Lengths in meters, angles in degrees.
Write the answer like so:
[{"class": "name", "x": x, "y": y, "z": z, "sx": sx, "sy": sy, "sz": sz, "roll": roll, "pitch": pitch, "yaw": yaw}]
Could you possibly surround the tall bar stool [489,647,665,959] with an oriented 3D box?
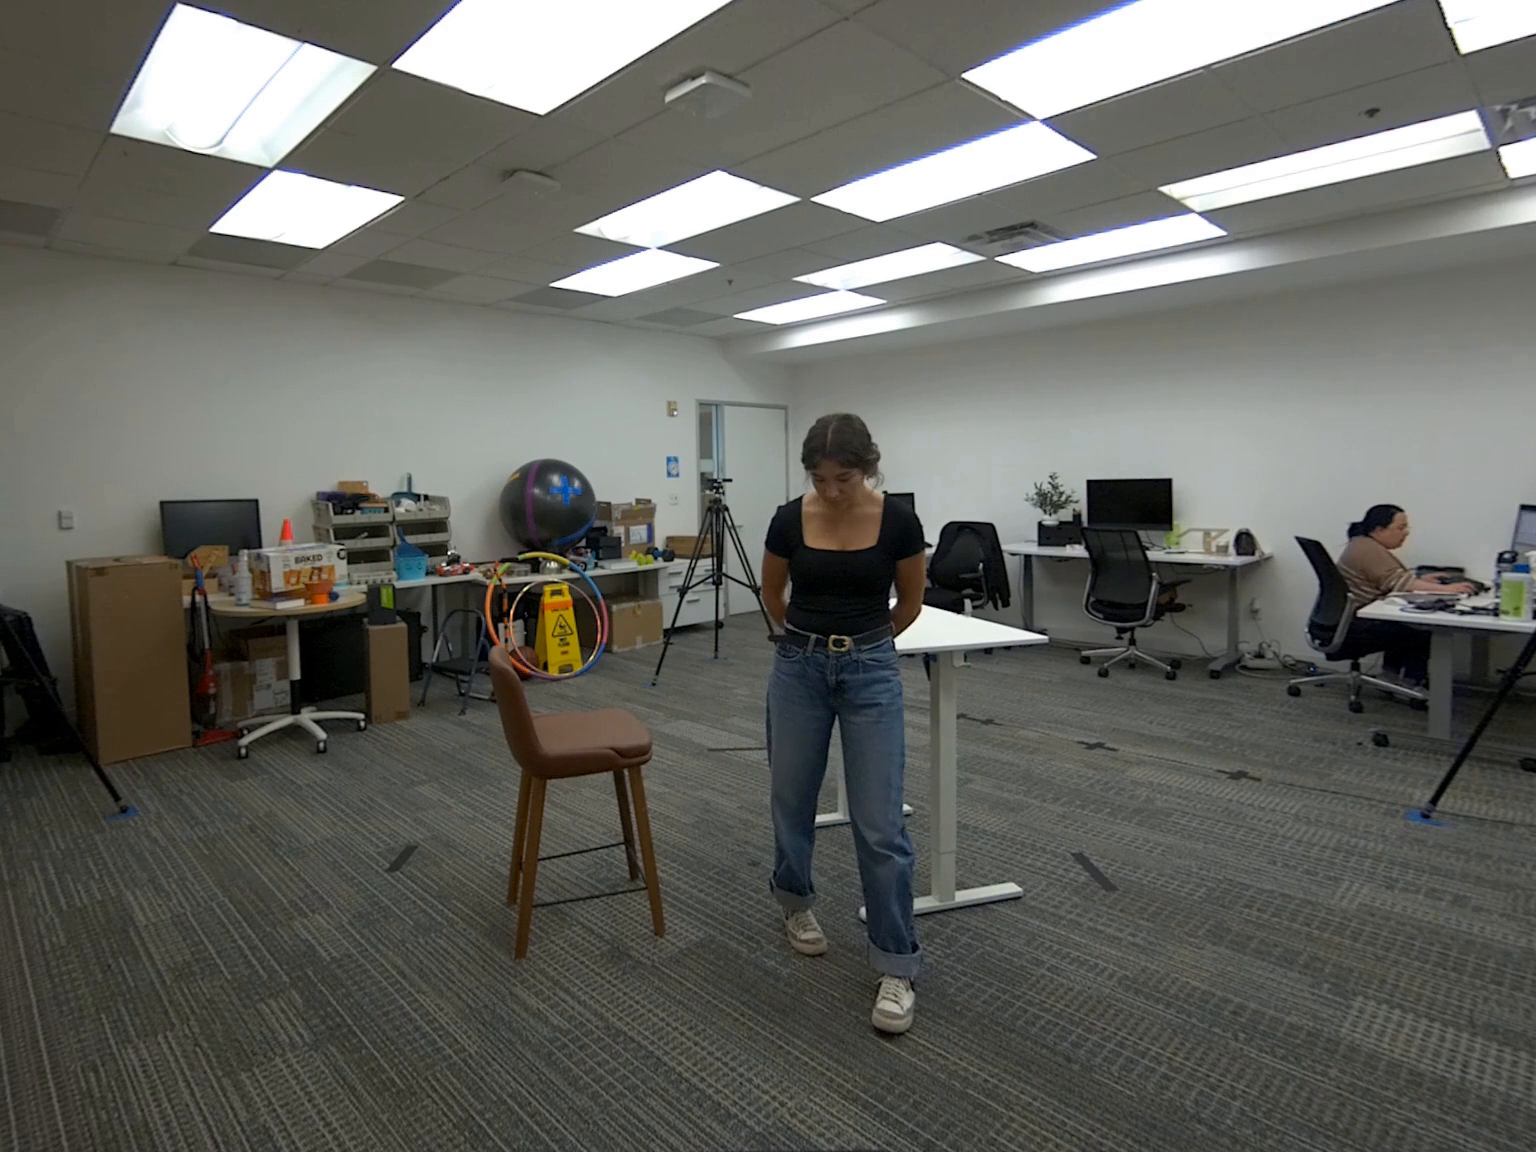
[{"class": "tall bar stool", "x": -0.605, "y": 0.665, "z": 2.721, "sx": 0.460, "sy": 0.886, "sz": 0.466, "roll": -4, "pitch": 5, "yaw": -20}]
